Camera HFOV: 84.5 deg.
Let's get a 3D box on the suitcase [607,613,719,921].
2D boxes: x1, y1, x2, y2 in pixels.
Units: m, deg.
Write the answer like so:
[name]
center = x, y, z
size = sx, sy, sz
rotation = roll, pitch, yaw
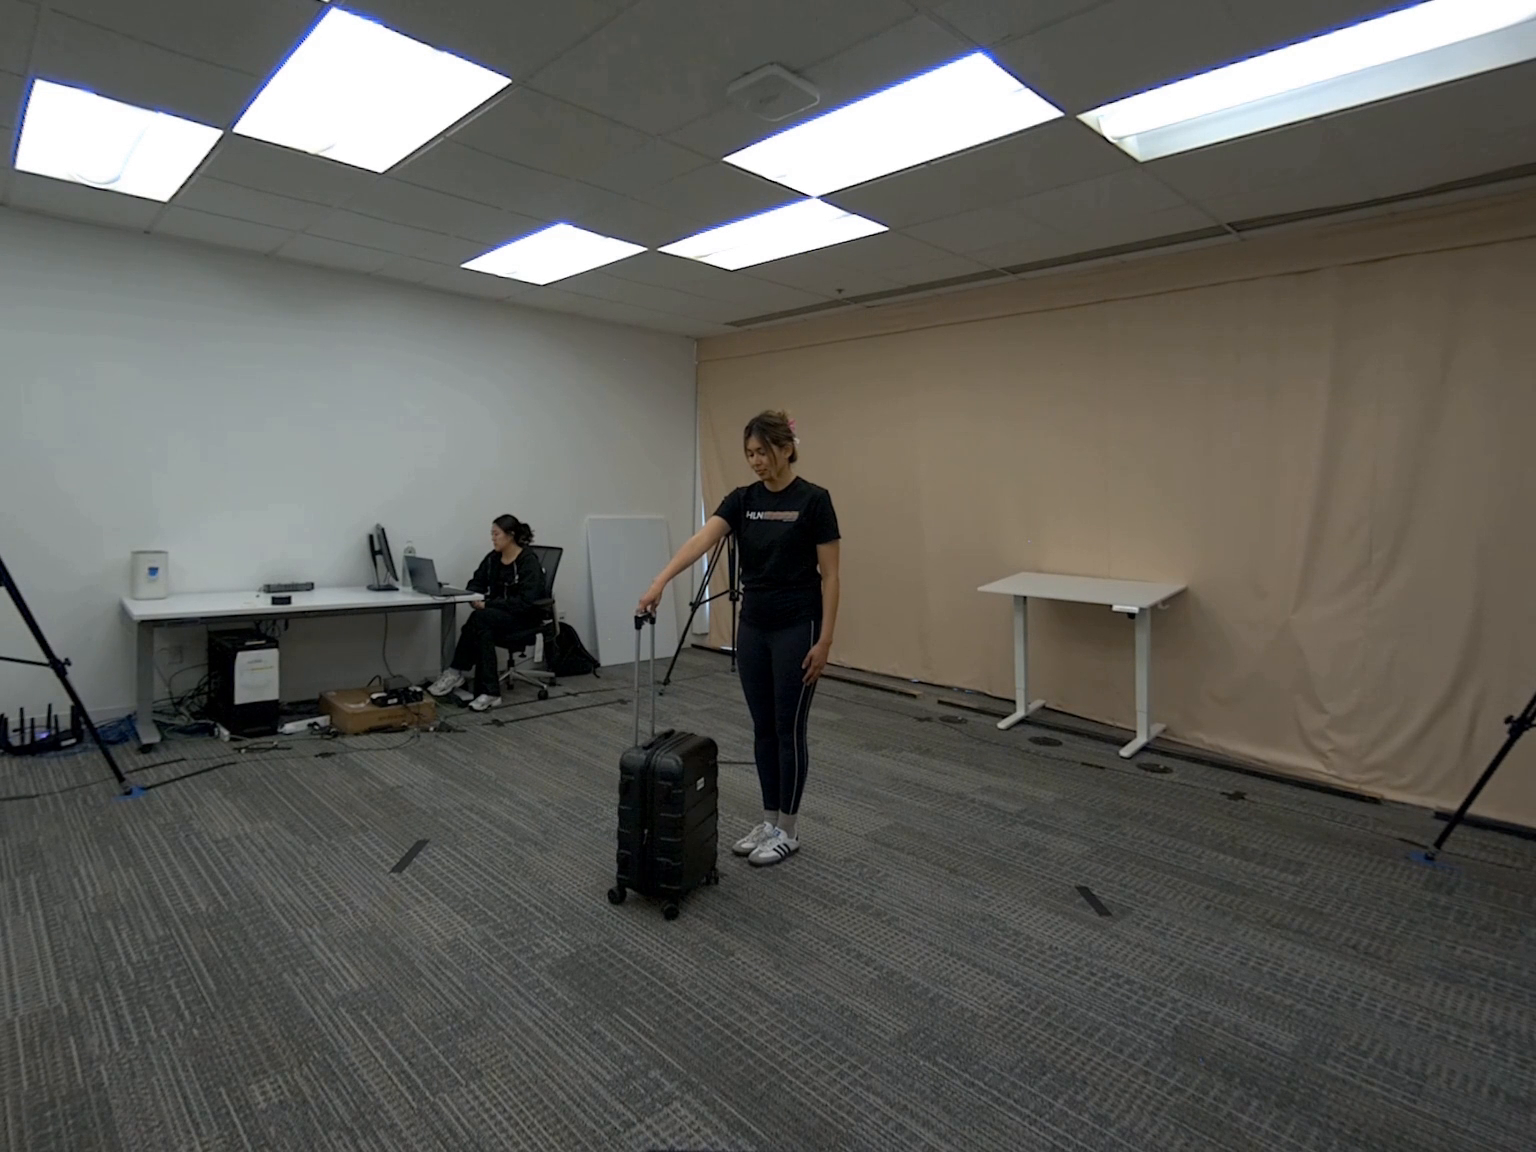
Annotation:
[suitcase]
center = -0.341, 0.643, 2.934
size = 0.261, 0.976, 0.378
rotation = 5, 4, 21
